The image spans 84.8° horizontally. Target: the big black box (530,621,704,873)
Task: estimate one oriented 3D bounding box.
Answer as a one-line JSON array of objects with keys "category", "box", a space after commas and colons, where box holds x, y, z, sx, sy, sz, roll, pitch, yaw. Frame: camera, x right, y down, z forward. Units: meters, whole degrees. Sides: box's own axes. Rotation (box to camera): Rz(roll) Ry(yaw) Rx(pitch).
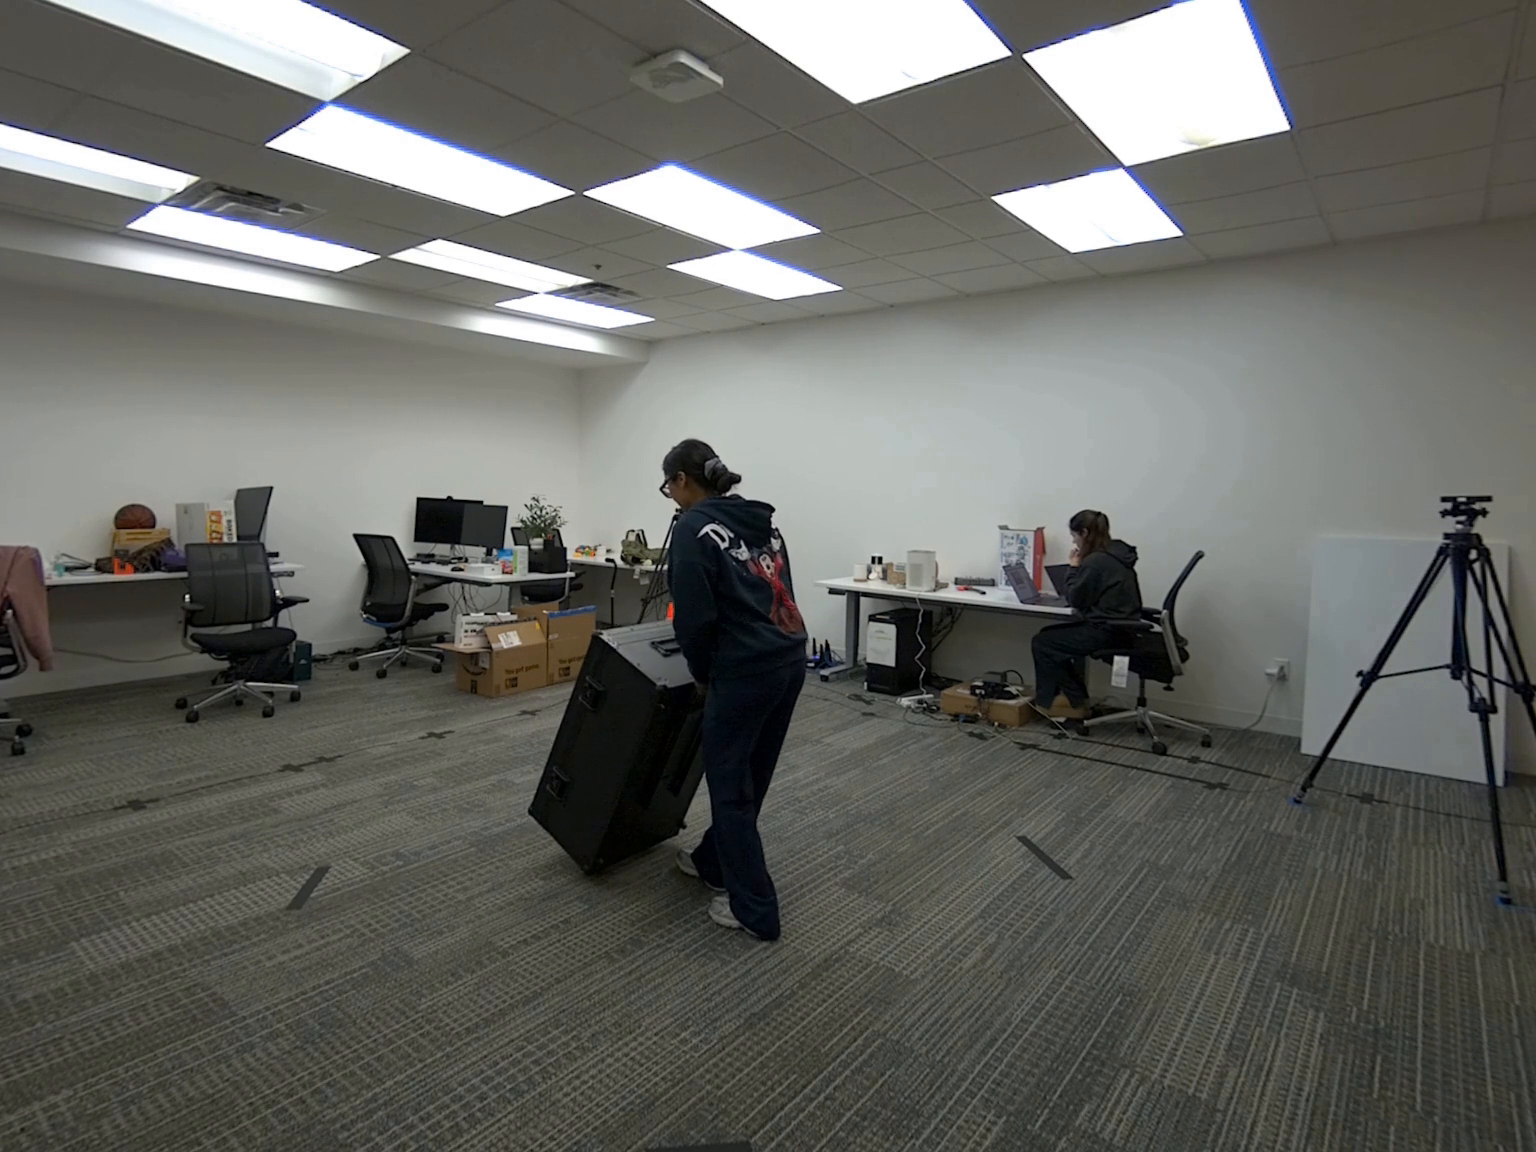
[{"category": "big black box", "box": [-0.491, 0.635, 3.115, 0.411, 0.854, 0.506, 34, 20, 29]}]
